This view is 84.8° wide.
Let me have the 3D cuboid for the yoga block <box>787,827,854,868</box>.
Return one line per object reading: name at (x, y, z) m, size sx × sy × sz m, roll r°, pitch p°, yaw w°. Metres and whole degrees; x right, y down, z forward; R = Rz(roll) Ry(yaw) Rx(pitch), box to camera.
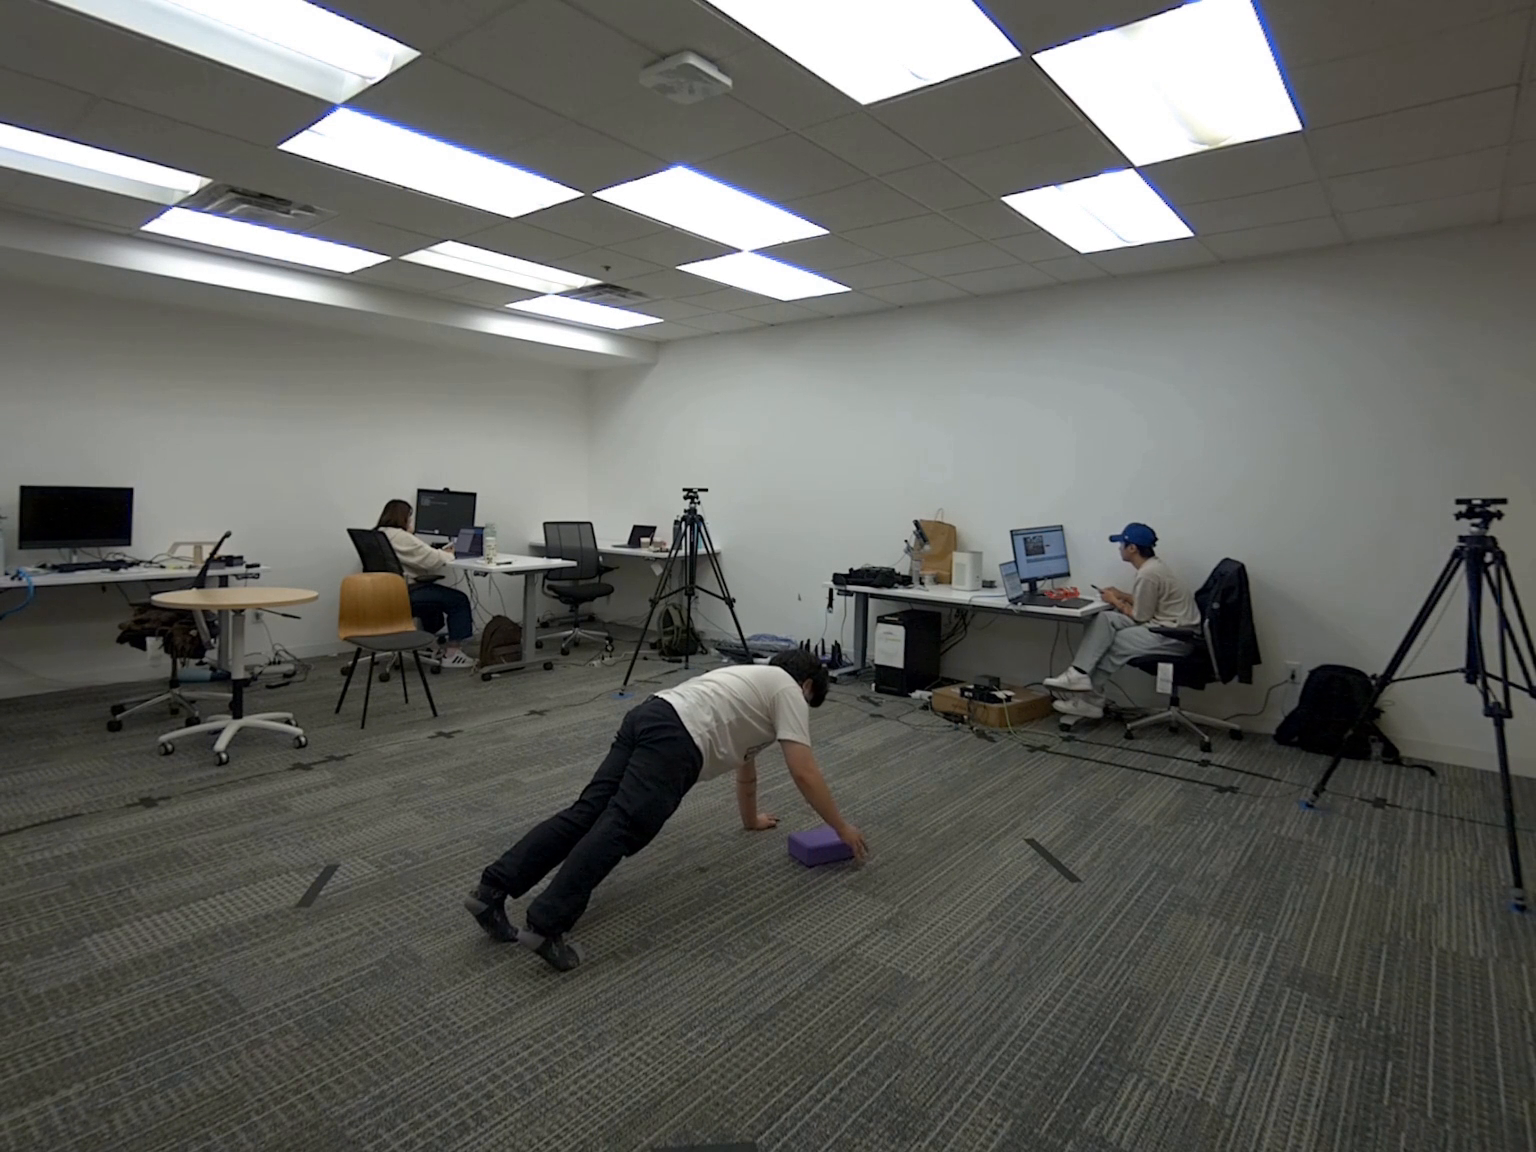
yoga block at (0.196, 1.017, 3.248) m, size 0.223 × 0.076 × 0.153 m, roll -1°, pitch 5°, yaw -28°
